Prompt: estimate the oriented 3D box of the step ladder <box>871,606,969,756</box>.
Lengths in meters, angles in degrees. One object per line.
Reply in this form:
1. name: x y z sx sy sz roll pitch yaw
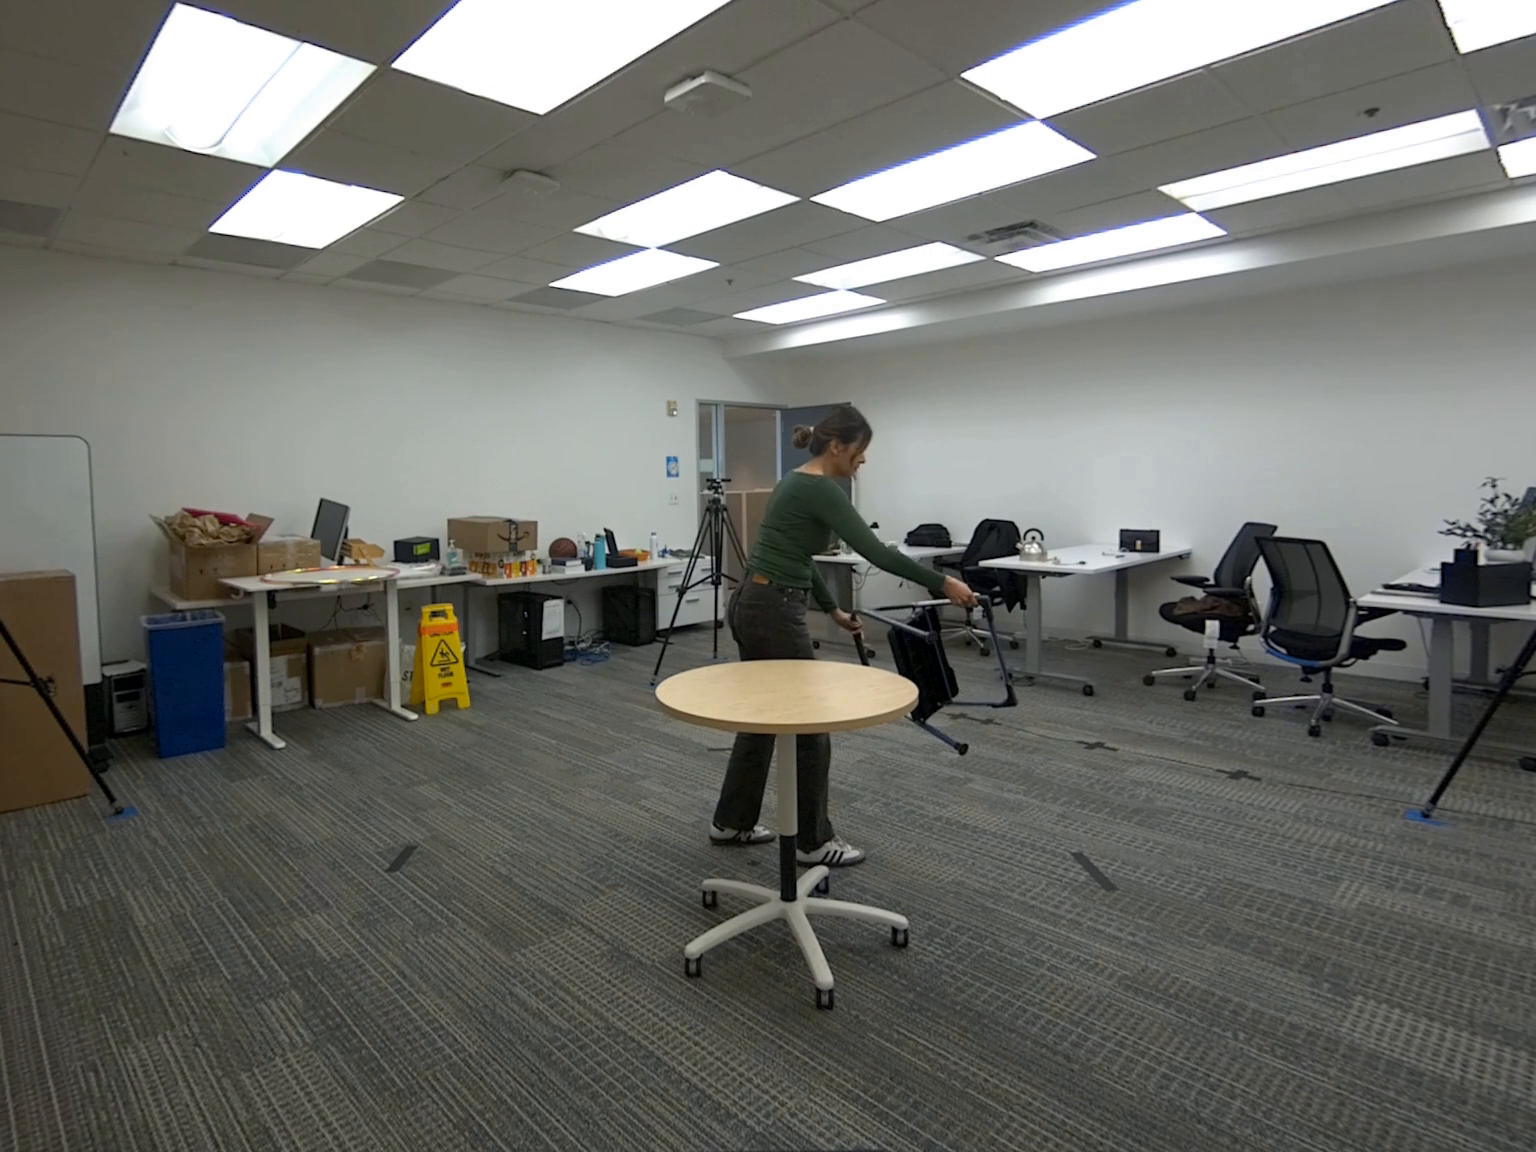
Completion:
1. step ladder: 0.489 0.319 3.074 0.344 0.425 0.623 -25 15 -35
